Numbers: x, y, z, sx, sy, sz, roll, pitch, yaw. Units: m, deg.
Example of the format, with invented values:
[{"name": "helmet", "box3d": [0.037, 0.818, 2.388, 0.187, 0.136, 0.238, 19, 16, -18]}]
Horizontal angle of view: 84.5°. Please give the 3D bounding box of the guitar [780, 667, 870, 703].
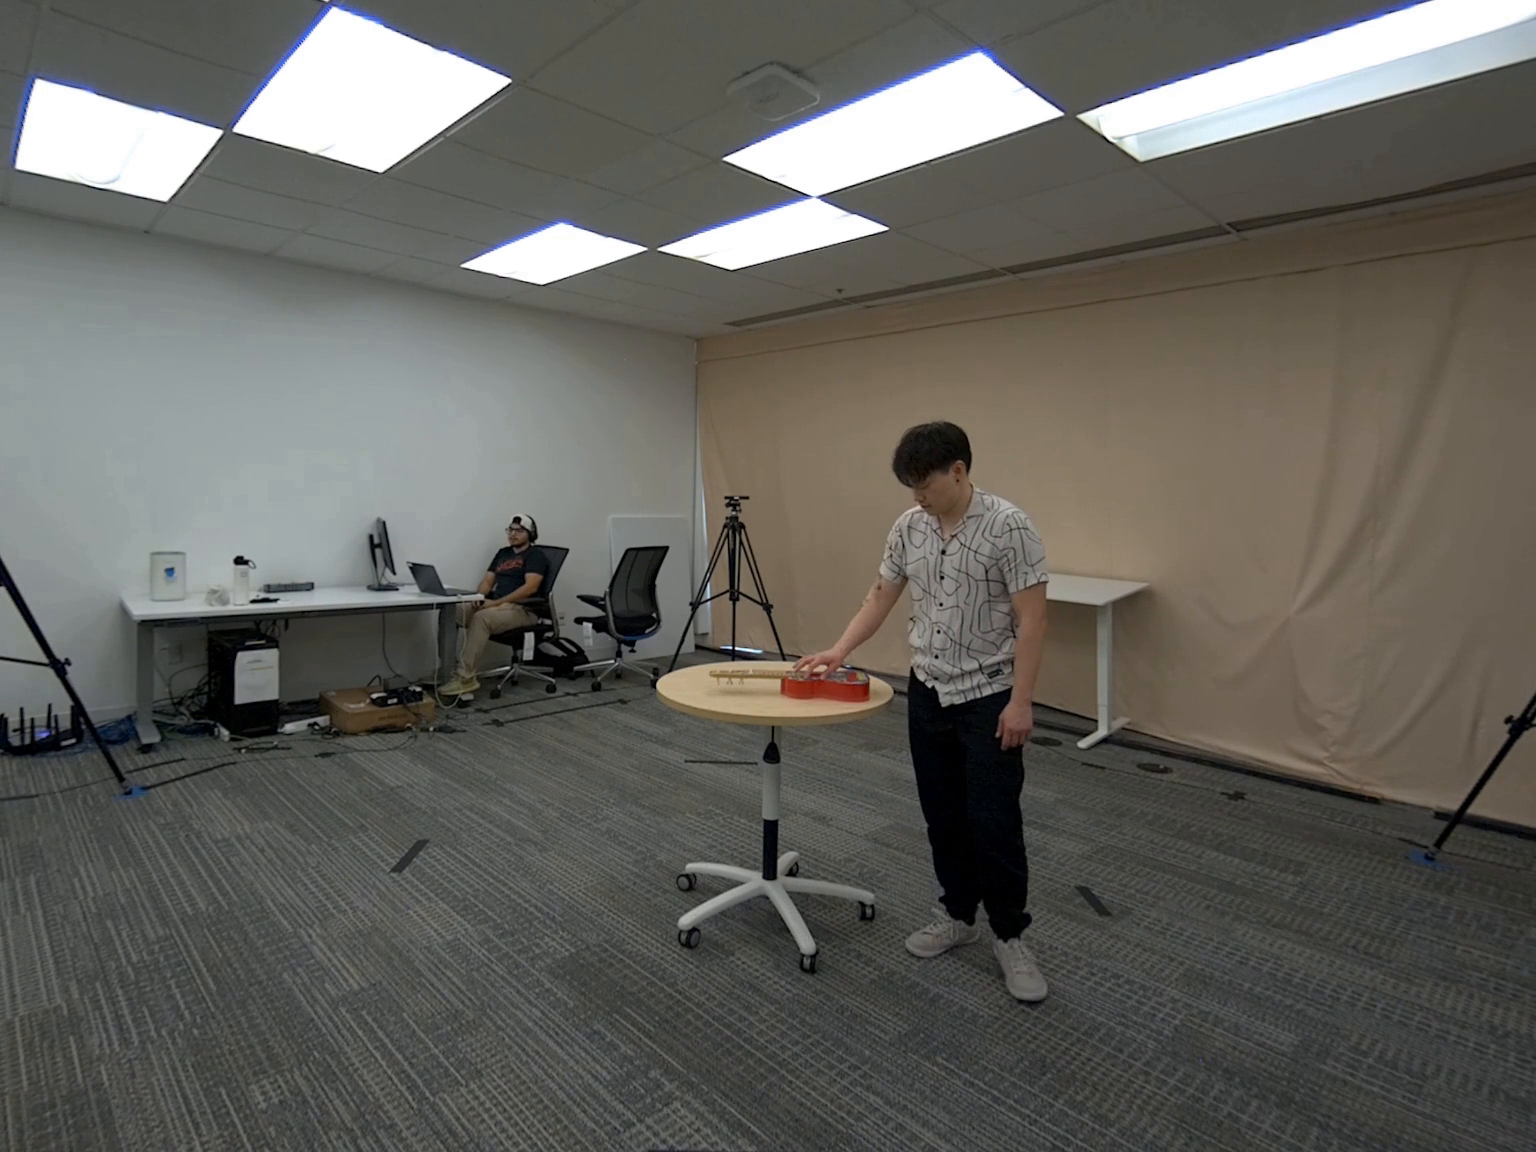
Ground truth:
[{"name": "guitar", "box3d": [0.071, 0.334, 2.652, 0.501, 0.070, 0.193, 3, 8, 7]}]
